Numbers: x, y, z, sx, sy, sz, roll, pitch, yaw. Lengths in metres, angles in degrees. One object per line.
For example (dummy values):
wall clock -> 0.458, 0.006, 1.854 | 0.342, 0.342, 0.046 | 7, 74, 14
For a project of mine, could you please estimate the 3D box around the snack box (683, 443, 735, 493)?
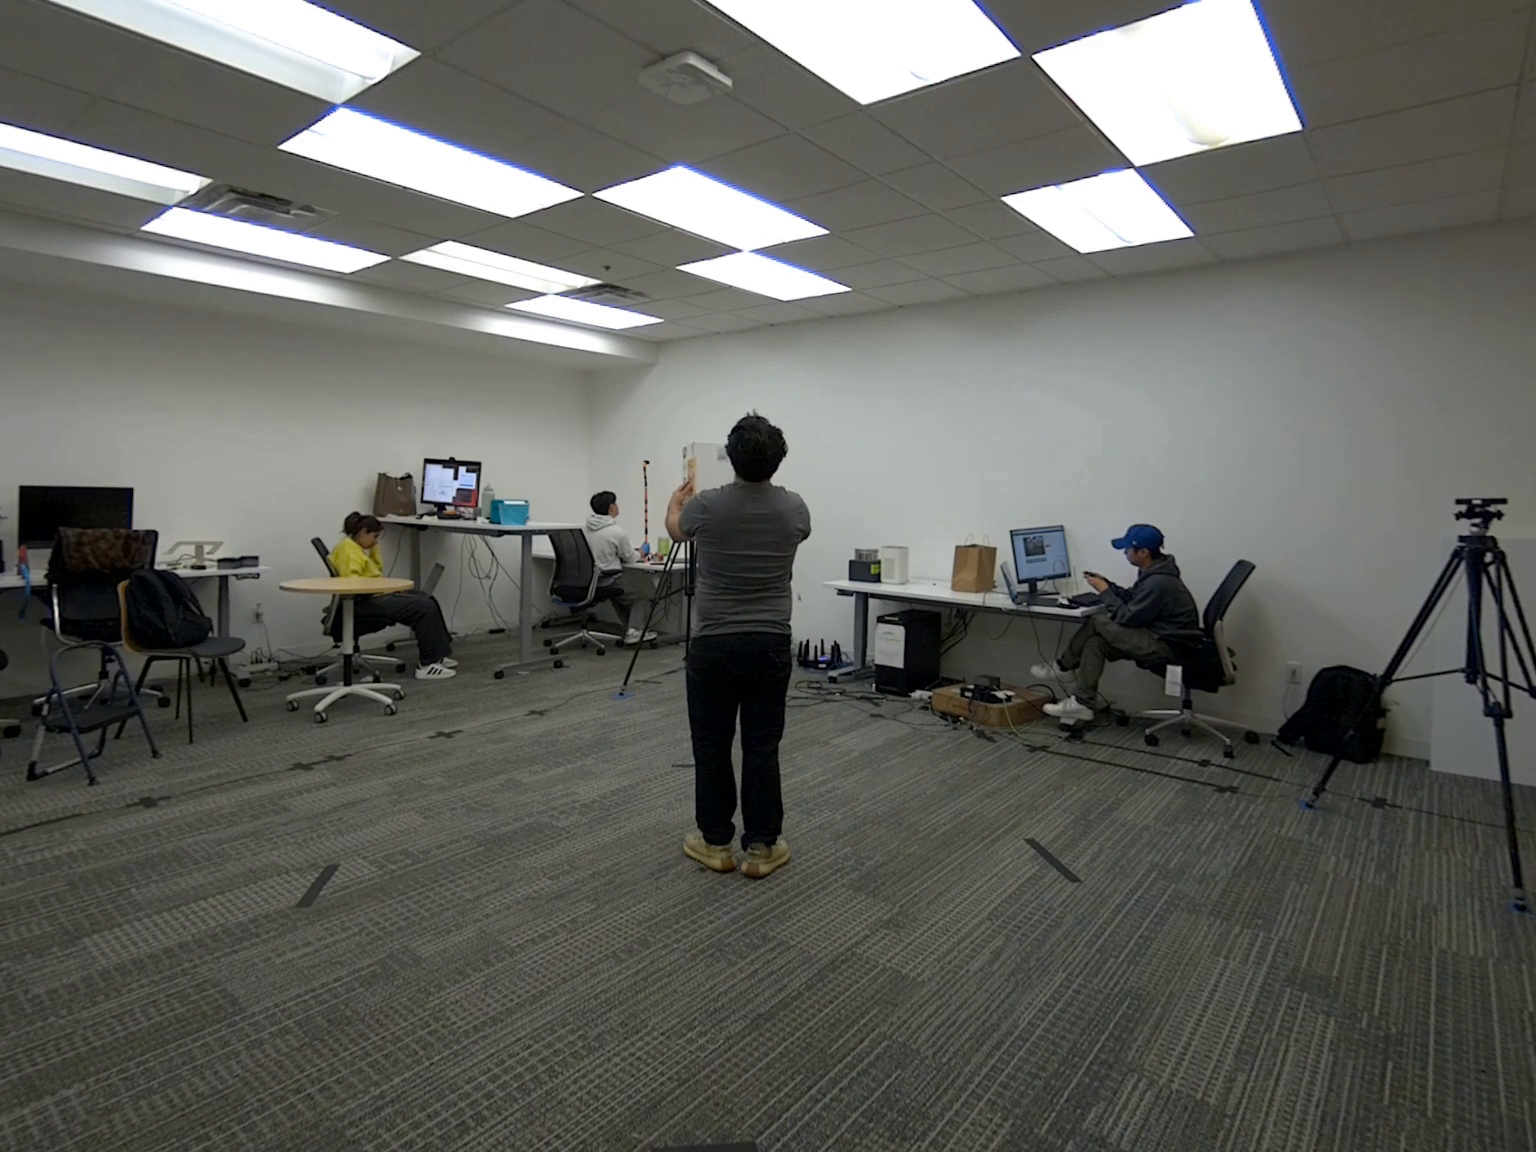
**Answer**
snack box -> -0.190, -0.358, 3.641 | 0.334, 0.406, 0.209 | 1, -3, -17
